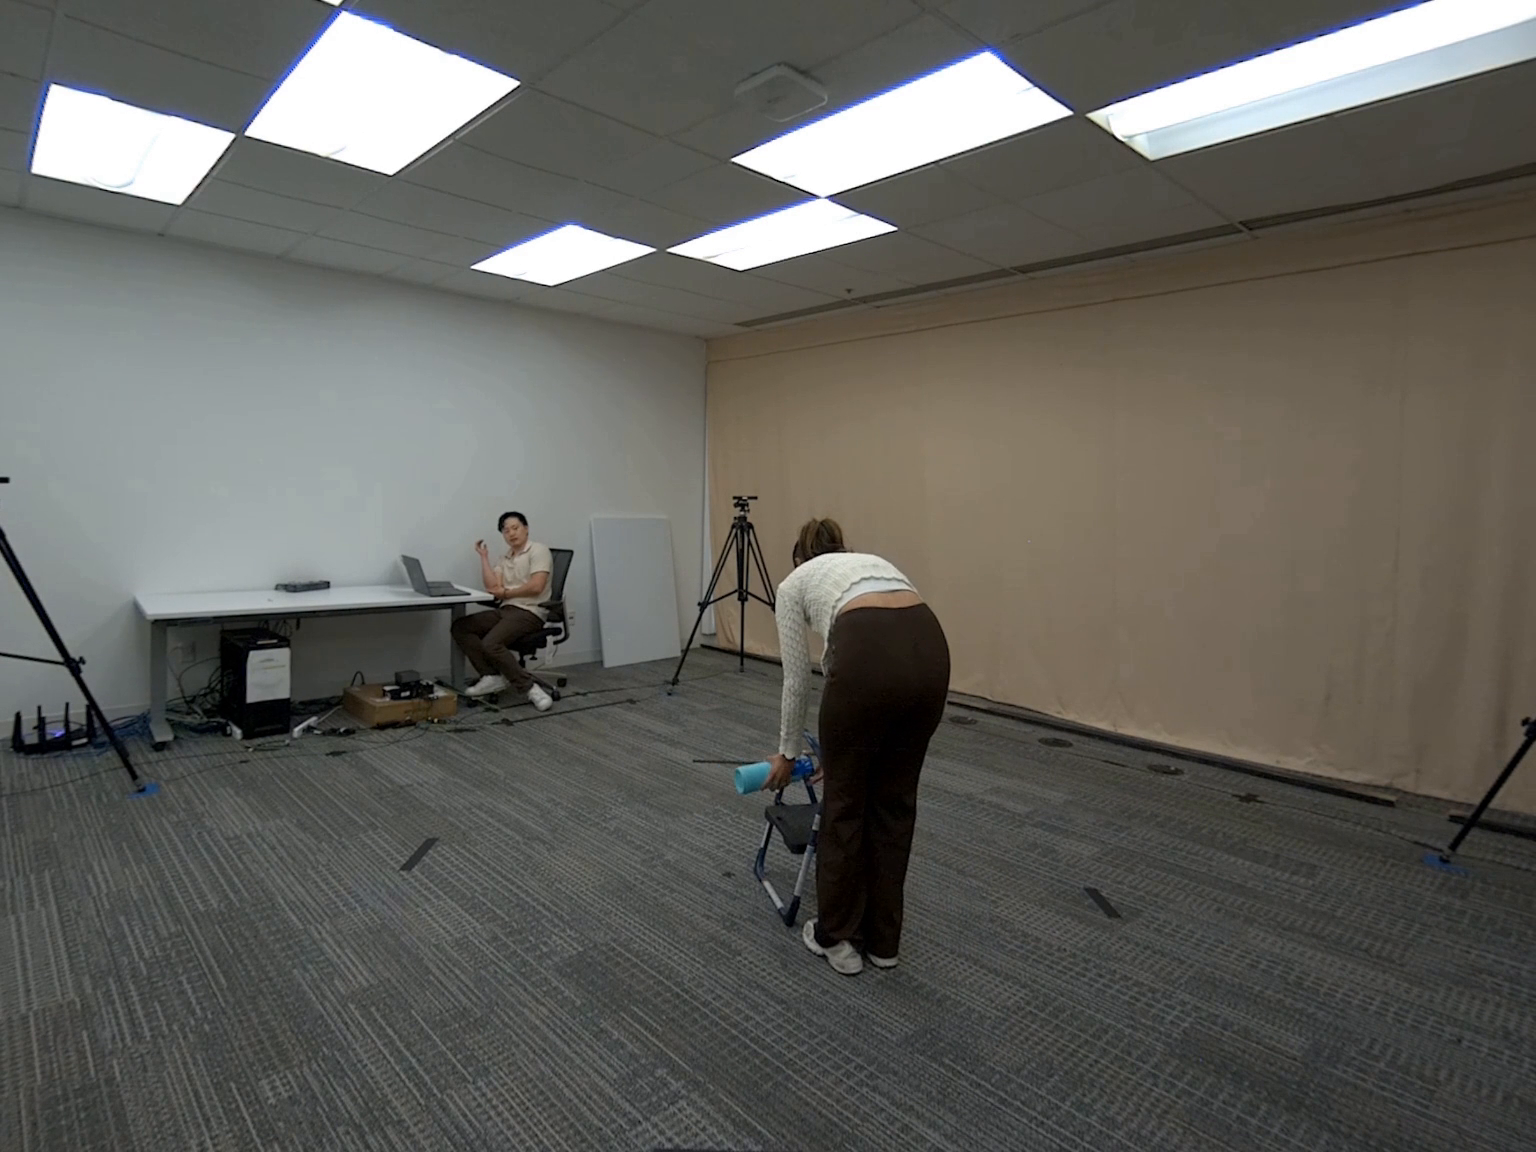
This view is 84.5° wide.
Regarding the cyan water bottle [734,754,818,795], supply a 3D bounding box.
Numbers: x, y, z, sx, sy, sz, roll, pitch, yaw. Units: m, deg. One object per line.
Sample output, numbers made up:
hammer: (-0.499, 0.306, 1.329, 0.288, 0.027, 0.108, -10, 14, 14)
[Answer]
cyan water bottle: (0.018, 0.667, 2.878, 0.279, 0.092, 0.094, -5, 6, -22)
